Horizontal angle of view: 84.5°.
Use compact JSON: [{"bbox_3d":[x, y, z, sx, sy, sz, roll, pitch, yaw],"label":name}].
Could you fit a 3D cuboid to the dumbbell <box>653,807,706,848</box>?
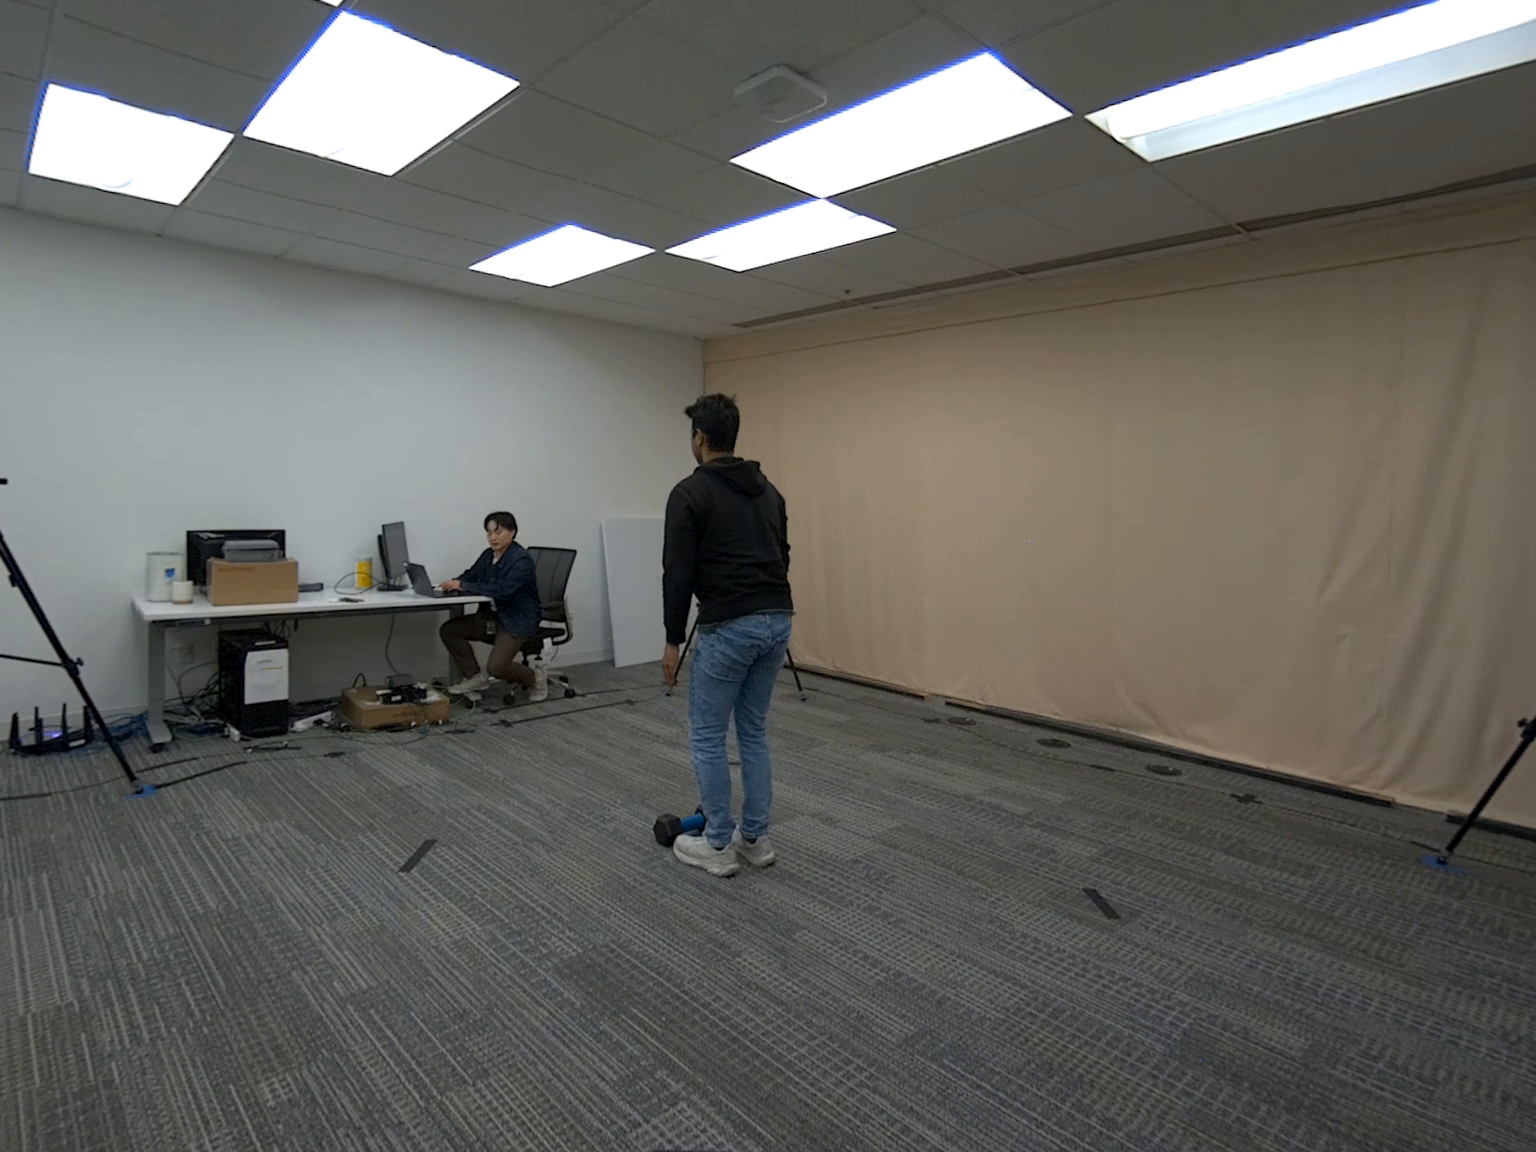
[{"bbox_3d":[-0.332,1.017,3.455,0.287,0.108,0.126,-3,6,-43],"label":"dumbbell"}]
